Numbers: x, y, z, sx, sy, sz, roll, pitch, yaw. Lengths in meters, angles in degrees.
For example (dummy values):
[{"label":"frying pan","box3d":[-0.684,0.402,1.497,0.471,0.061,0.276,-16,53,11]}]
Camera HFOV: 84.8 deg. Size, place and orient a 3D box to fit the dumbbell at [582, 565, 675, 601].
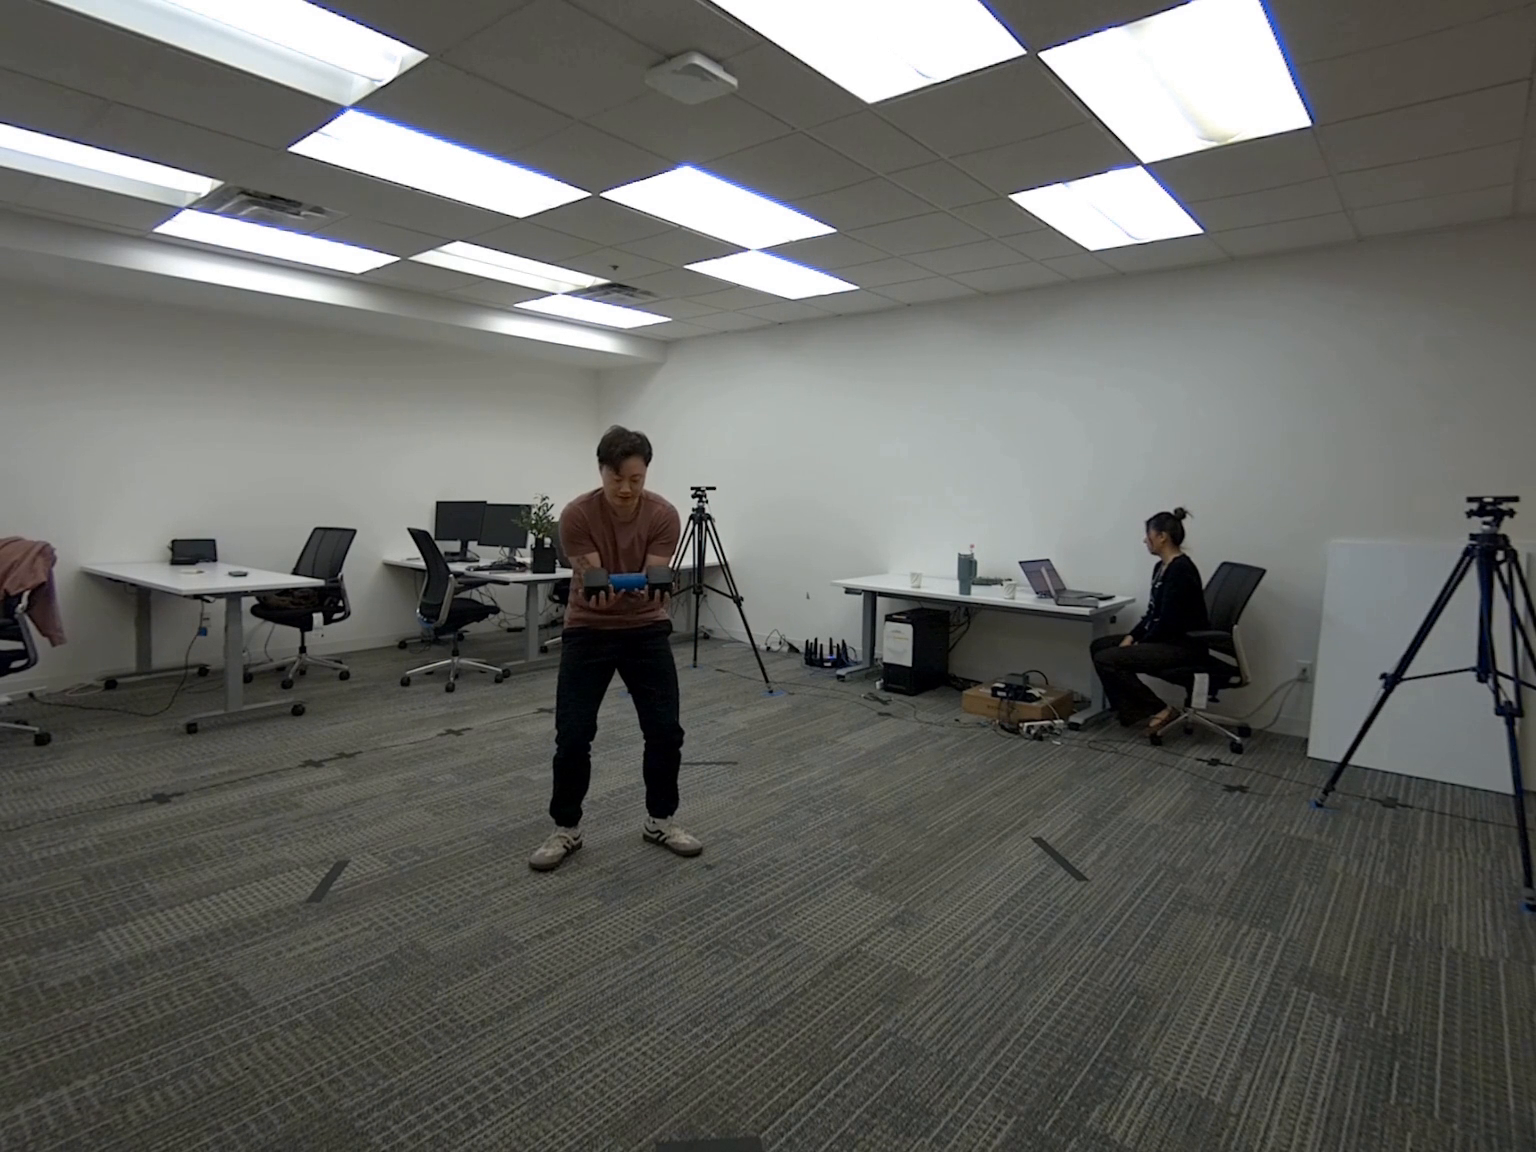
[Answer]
[{"label":"dumbbell","box3d":[-0.489,0.024,2.838,0.290,0.108,0.125,-3,6,-11]}]
